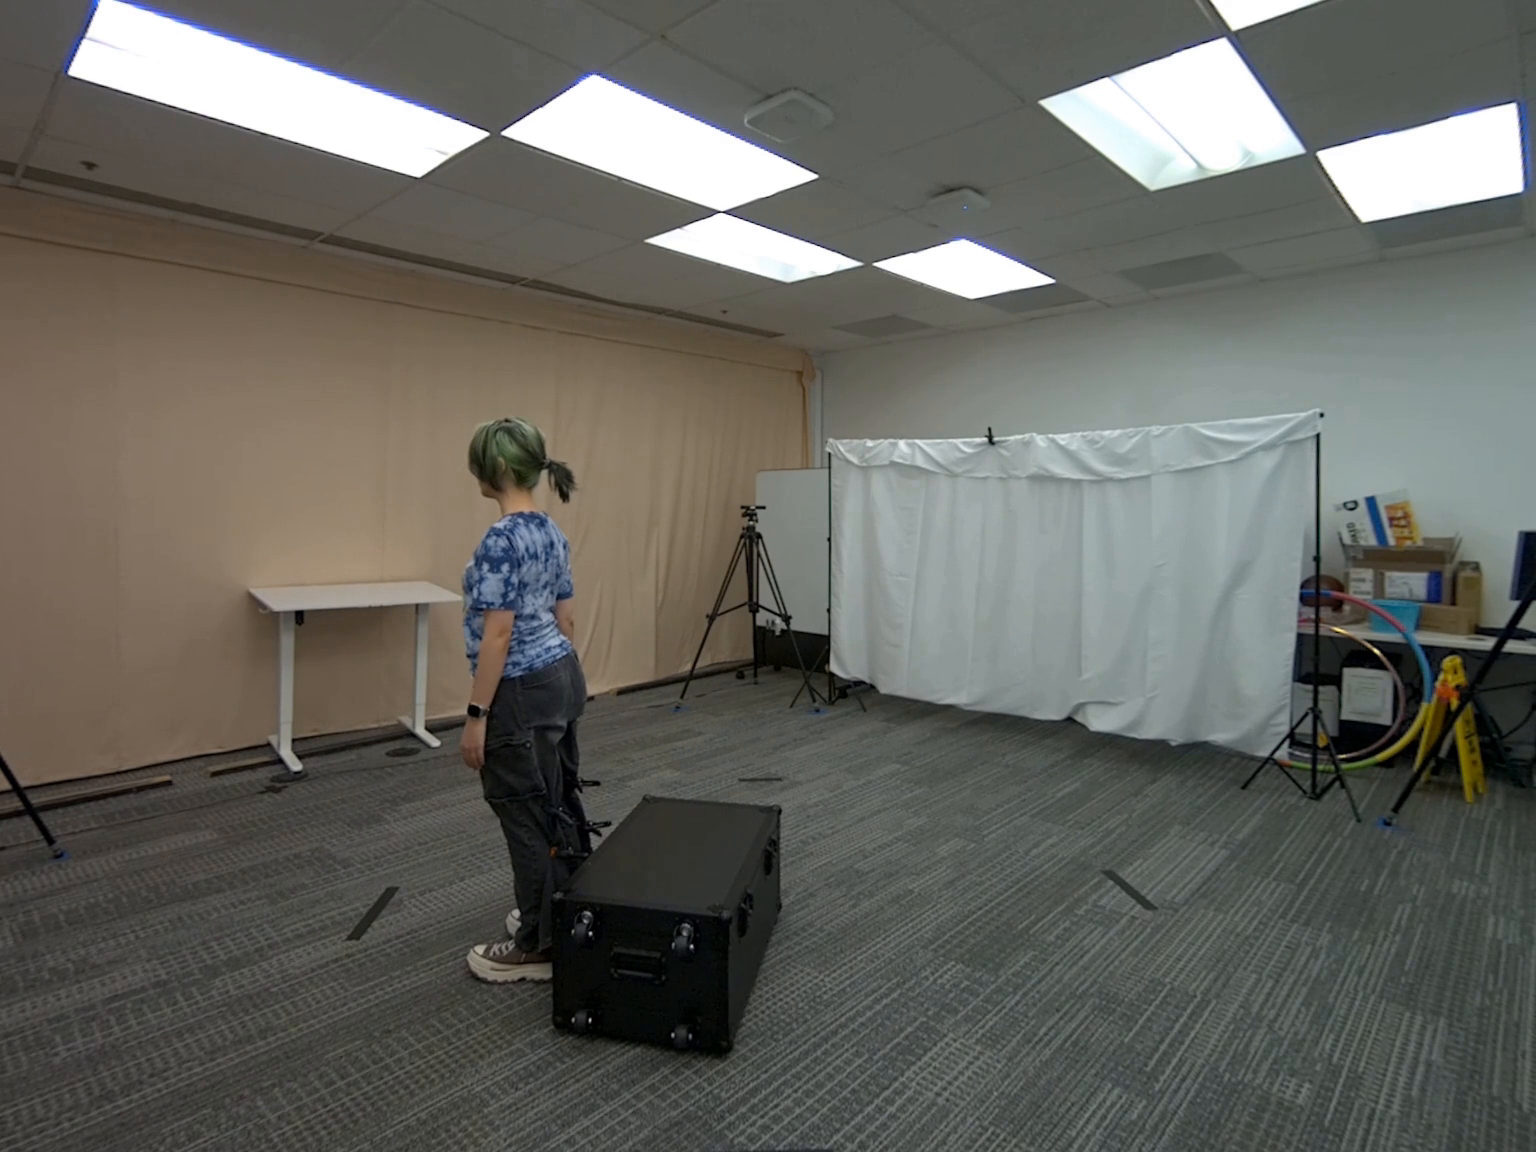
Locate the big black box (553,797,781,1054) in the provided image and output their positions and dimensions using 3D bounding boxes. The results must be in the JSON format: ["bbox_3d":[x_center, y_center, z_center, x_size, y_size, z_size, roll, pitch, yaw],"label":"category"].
[{"bbox_3d":[-0.267,0.992,2.497,0.528,0.395,0.851,1,4,11],"label":"big black box"}]
